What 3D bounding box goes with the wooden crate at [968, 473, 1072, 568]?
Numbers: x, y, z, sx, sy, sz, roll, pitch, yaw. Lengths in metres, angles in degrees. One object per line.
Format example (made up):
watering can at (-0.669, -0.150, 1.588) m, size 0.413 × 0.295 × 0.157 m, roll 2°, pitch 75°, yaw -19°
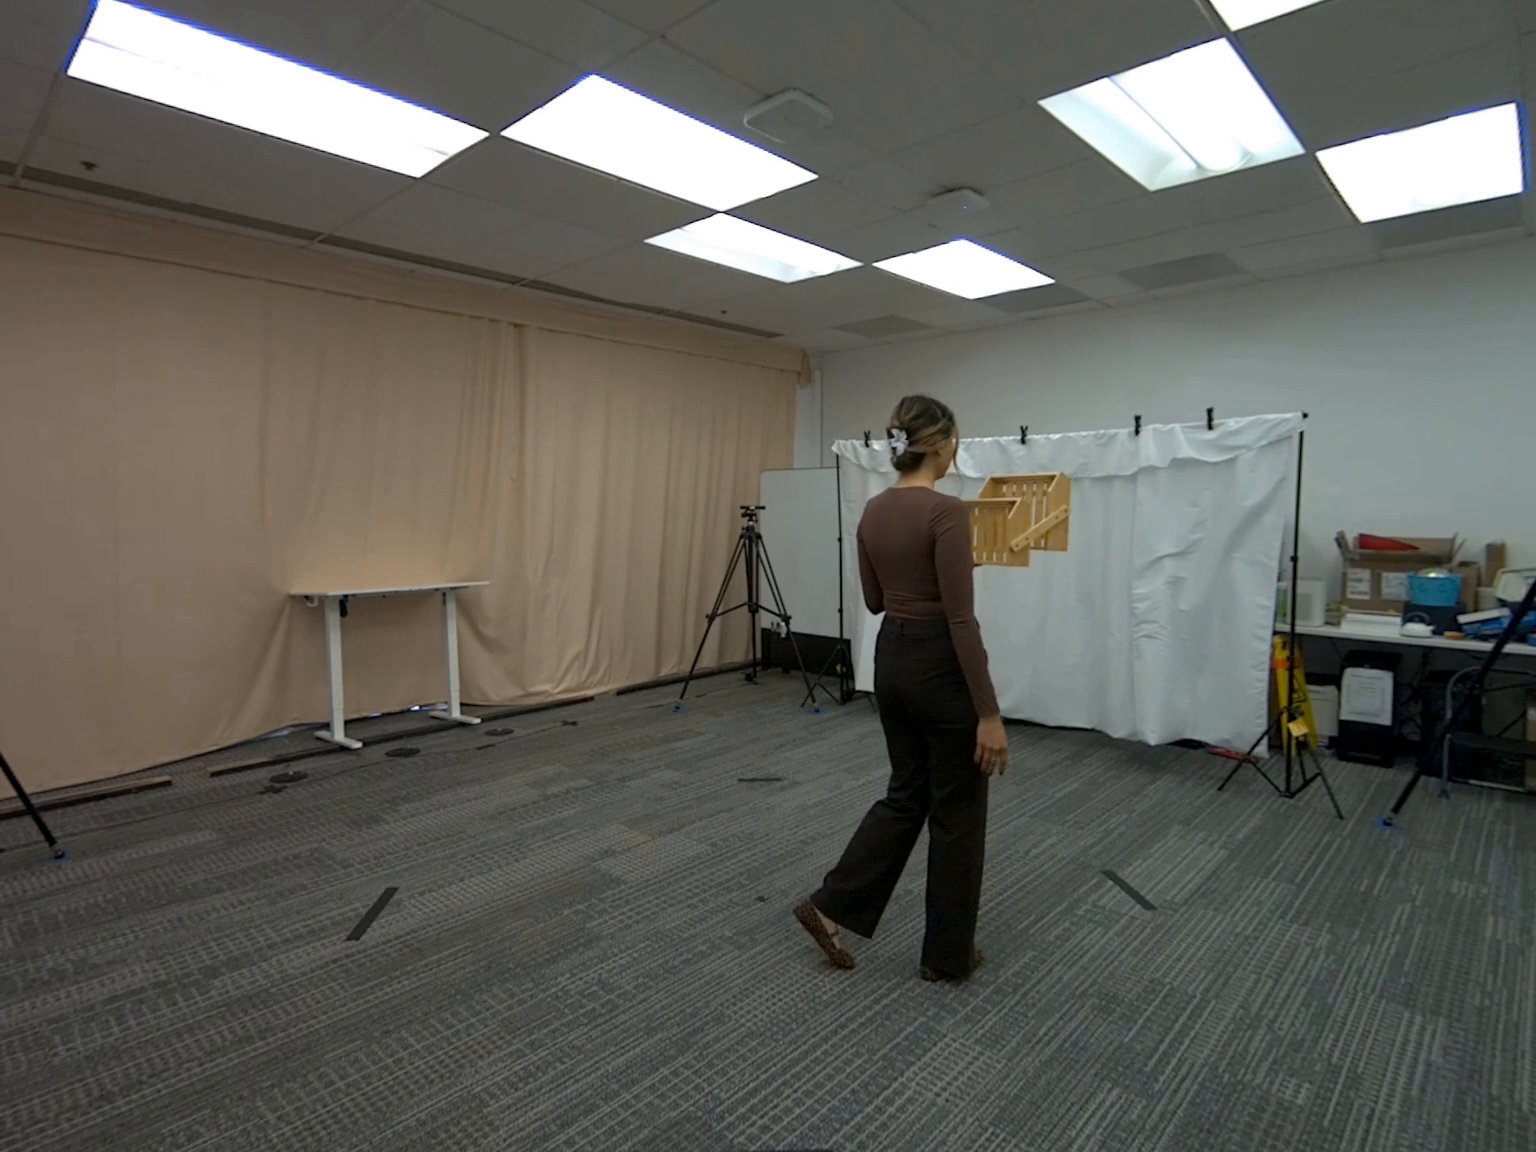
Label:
wooden crate at (0.759, -0.186, 2.731) m, size 0.266 × 0.302 × 0.334 m, roll 1°, pitch 2°, yaw -30°
